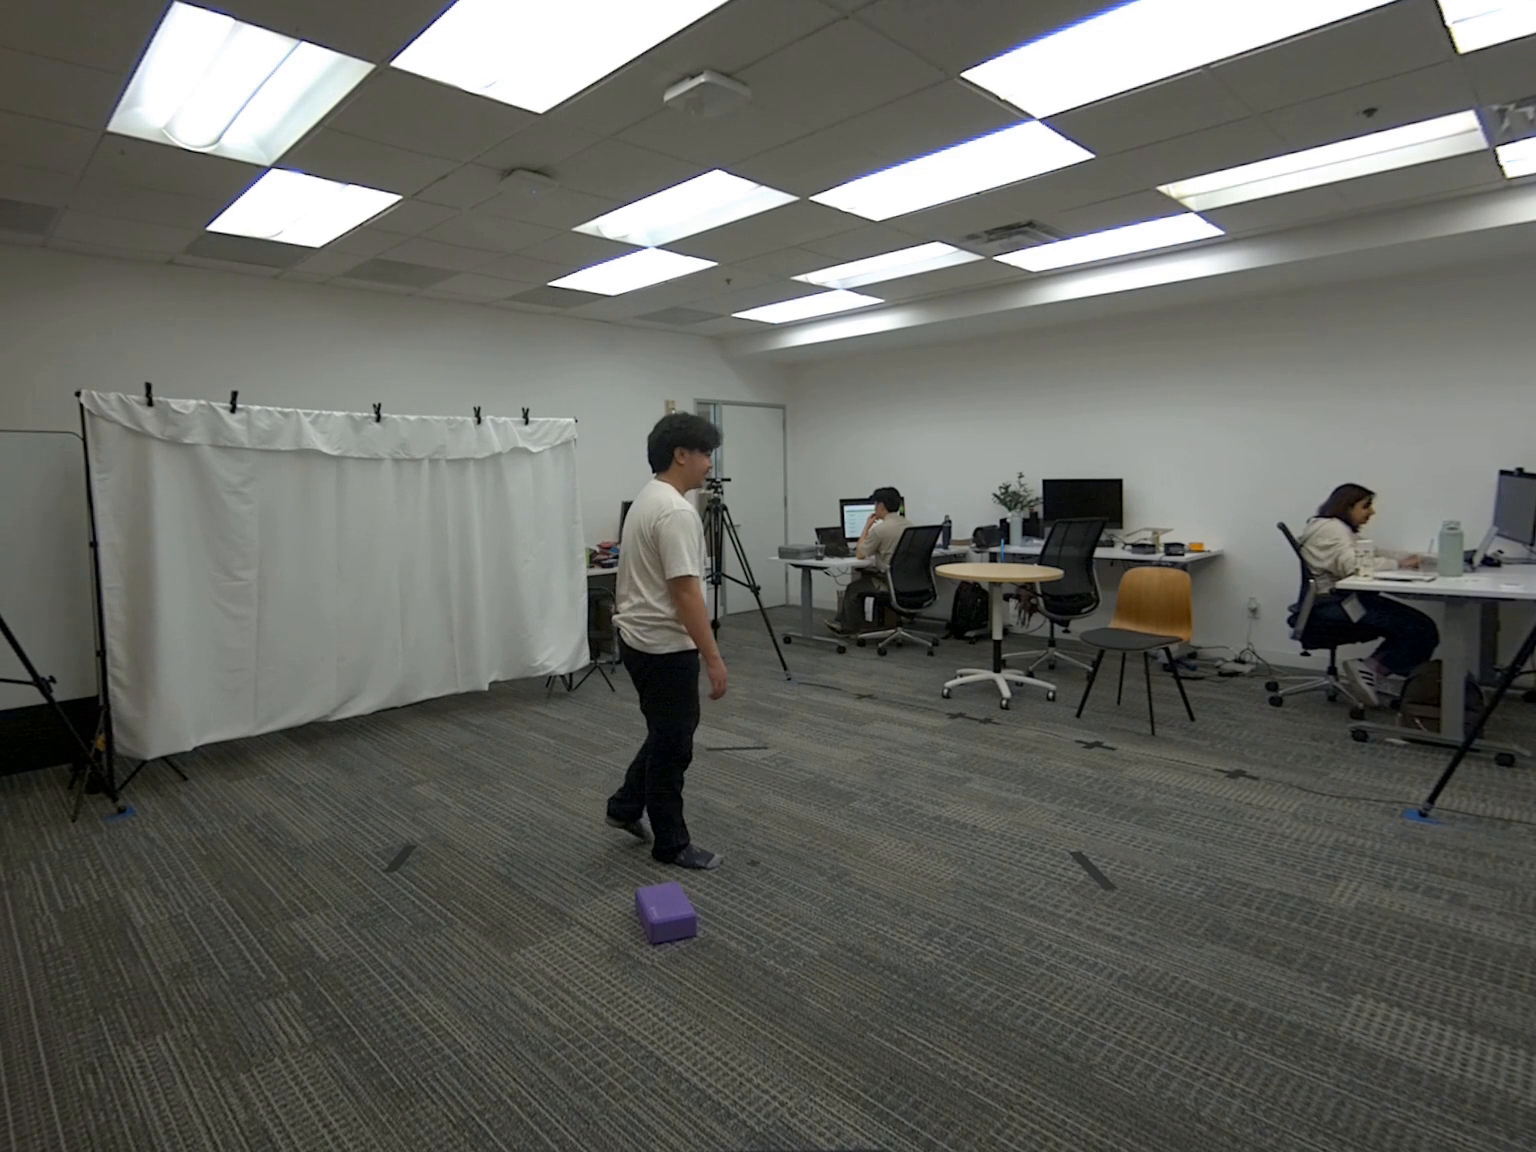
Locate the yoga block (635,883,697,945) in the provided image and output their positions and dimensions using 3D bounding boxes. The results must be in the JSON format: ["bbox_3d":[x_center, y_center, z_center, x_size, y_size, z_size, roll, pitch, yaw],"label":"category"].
[{"bbox_3d":[-0.321,1.056,2.694,0.146,0.076,0.234,-2,7,-19],"label":"yoga block"}]
